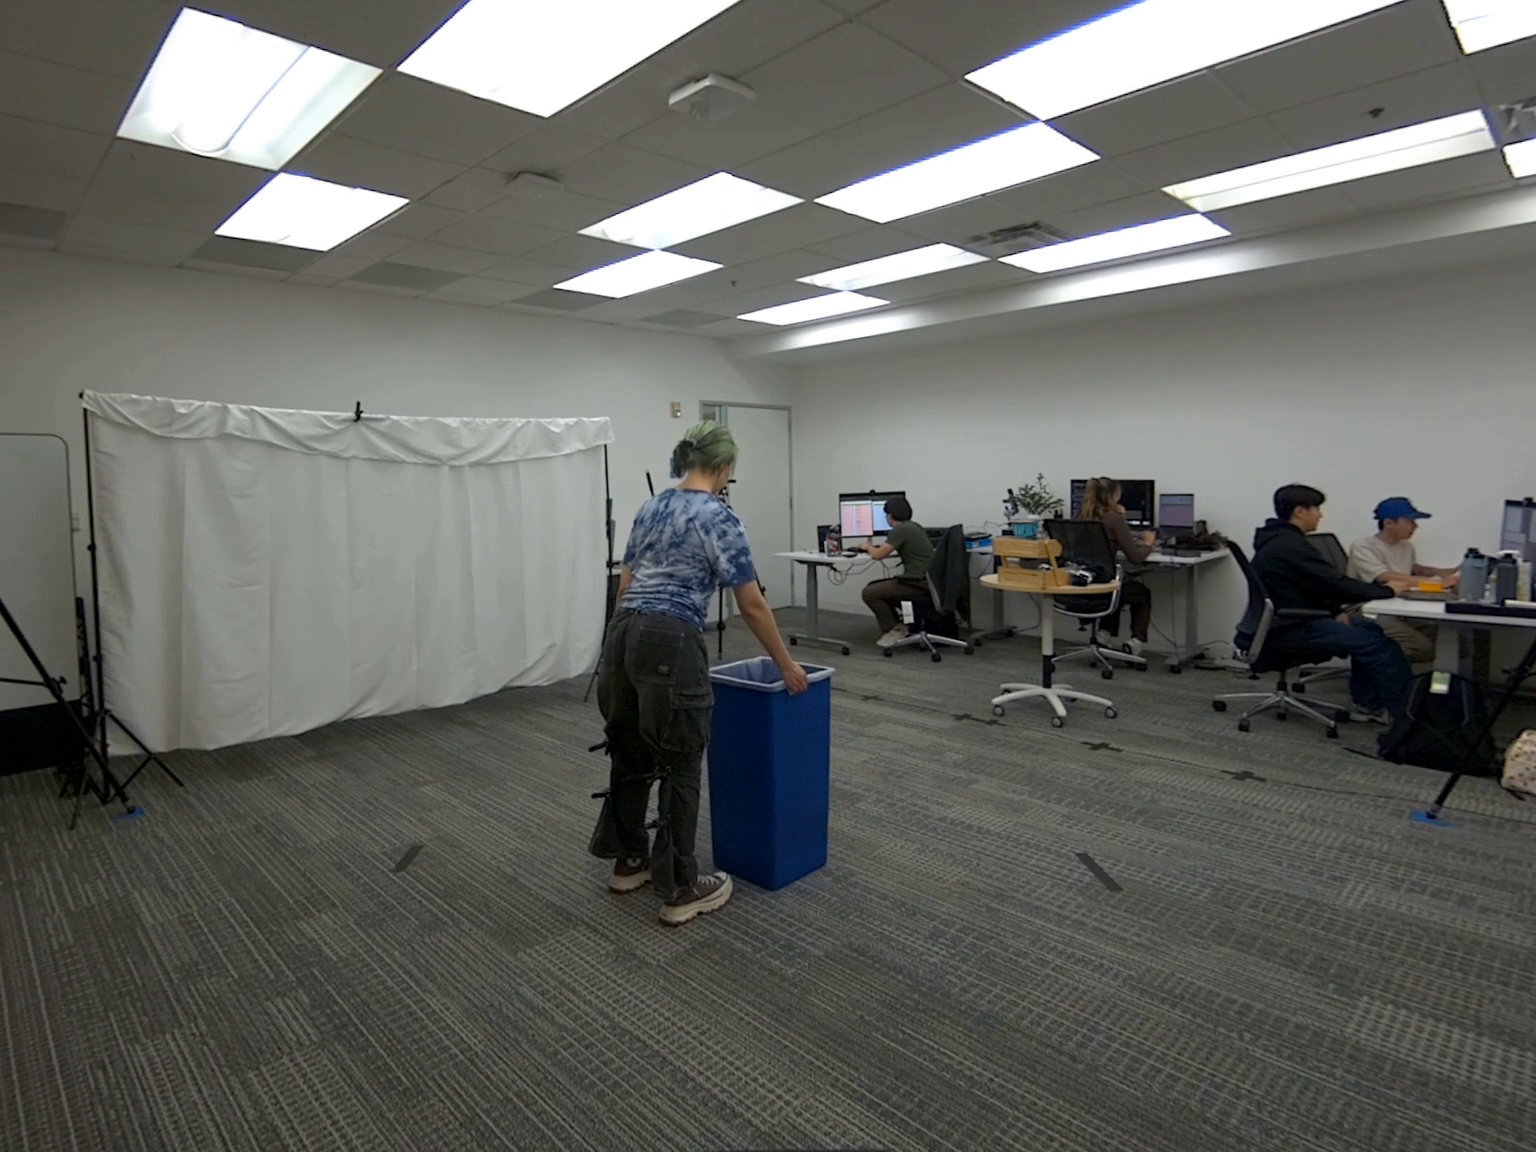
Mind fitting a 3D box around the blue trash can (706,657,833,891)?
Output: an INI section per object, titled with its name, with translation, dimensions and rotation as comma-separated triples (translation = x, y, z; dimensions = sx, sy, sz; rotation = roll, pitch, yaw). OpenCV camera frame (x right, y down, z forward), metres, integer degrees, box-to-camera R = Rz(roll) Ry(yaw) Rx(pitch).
[blue trash can]
translation = 0.000, 0.691, 3.084
dimensions = 0.385, 0.711, 0.368
rotation = 3, 5, 43
